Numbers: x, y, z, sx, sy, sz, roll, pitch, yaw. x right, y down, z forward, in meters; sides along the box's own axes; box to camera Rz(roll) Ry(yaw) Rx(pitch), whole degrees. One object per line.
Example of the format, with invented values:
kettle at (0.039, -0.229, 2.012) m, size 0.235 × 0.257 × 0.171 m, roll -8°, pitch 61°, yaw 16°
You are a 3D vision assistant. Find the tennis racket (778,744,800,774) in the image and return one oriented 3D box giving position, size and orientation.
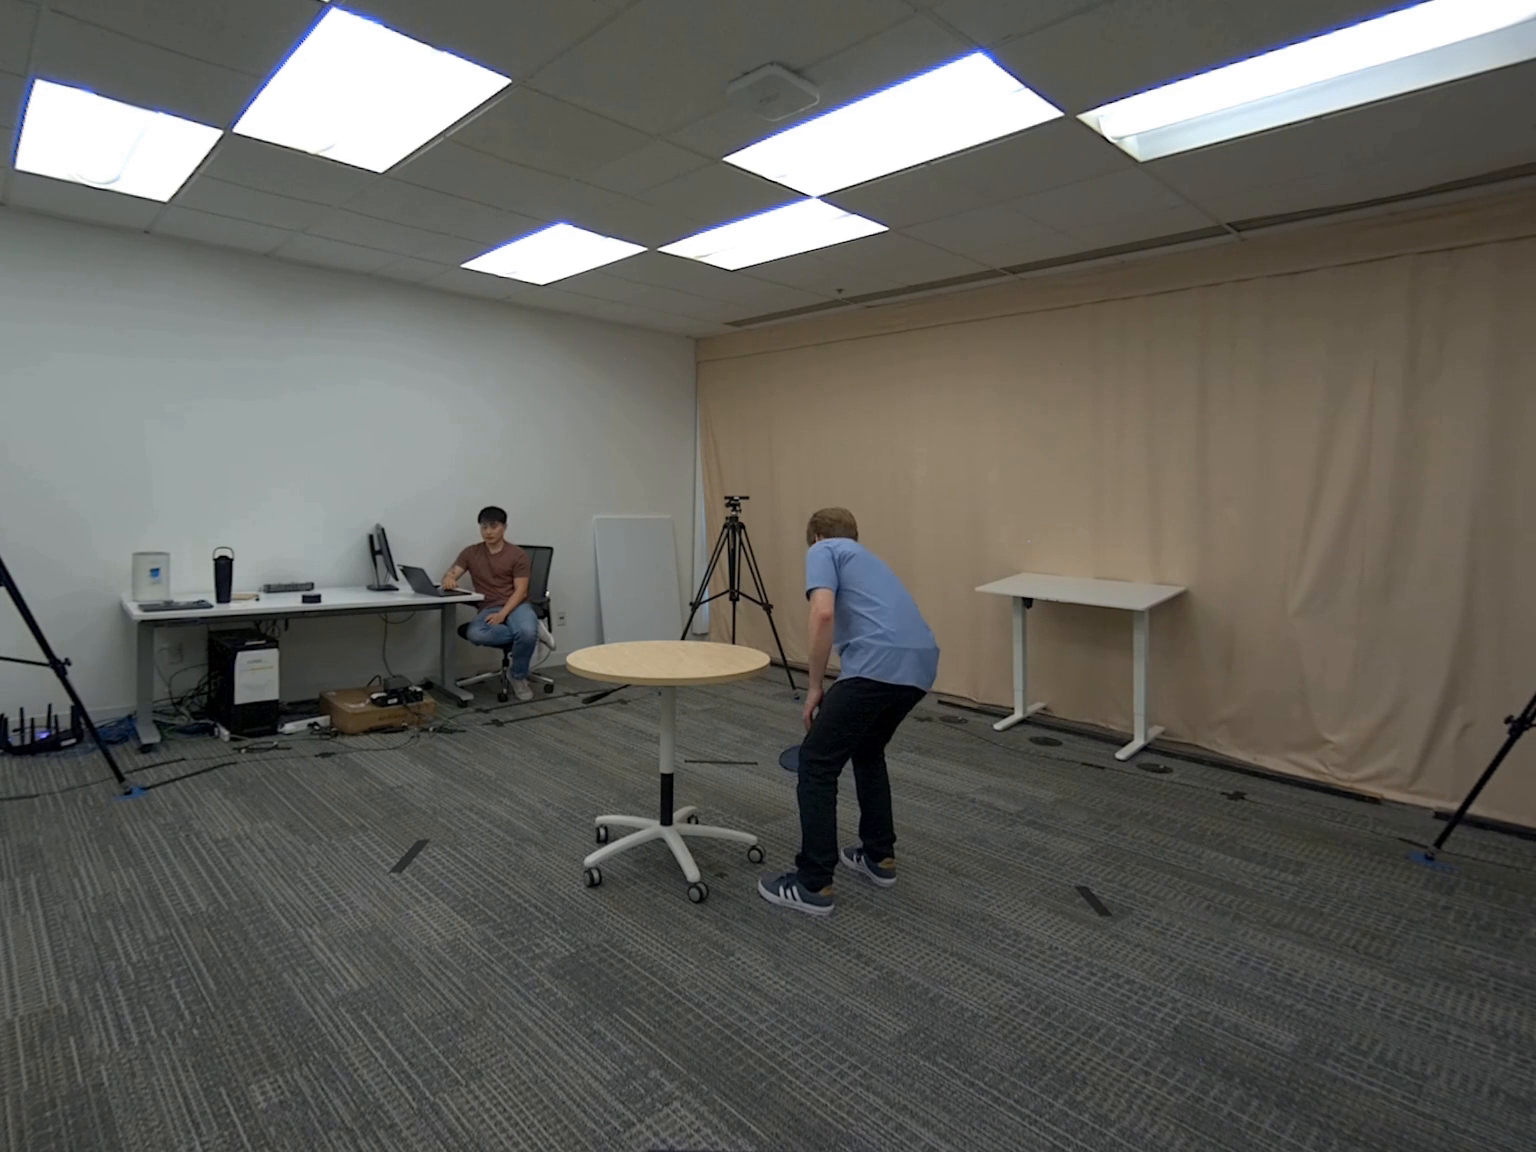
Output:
tennis racket at (0.219, 0.730, 3.536) m, size 0.208 × 0.032 × 0.436 m, roll 33°, pitch -47°, yaw -29°
